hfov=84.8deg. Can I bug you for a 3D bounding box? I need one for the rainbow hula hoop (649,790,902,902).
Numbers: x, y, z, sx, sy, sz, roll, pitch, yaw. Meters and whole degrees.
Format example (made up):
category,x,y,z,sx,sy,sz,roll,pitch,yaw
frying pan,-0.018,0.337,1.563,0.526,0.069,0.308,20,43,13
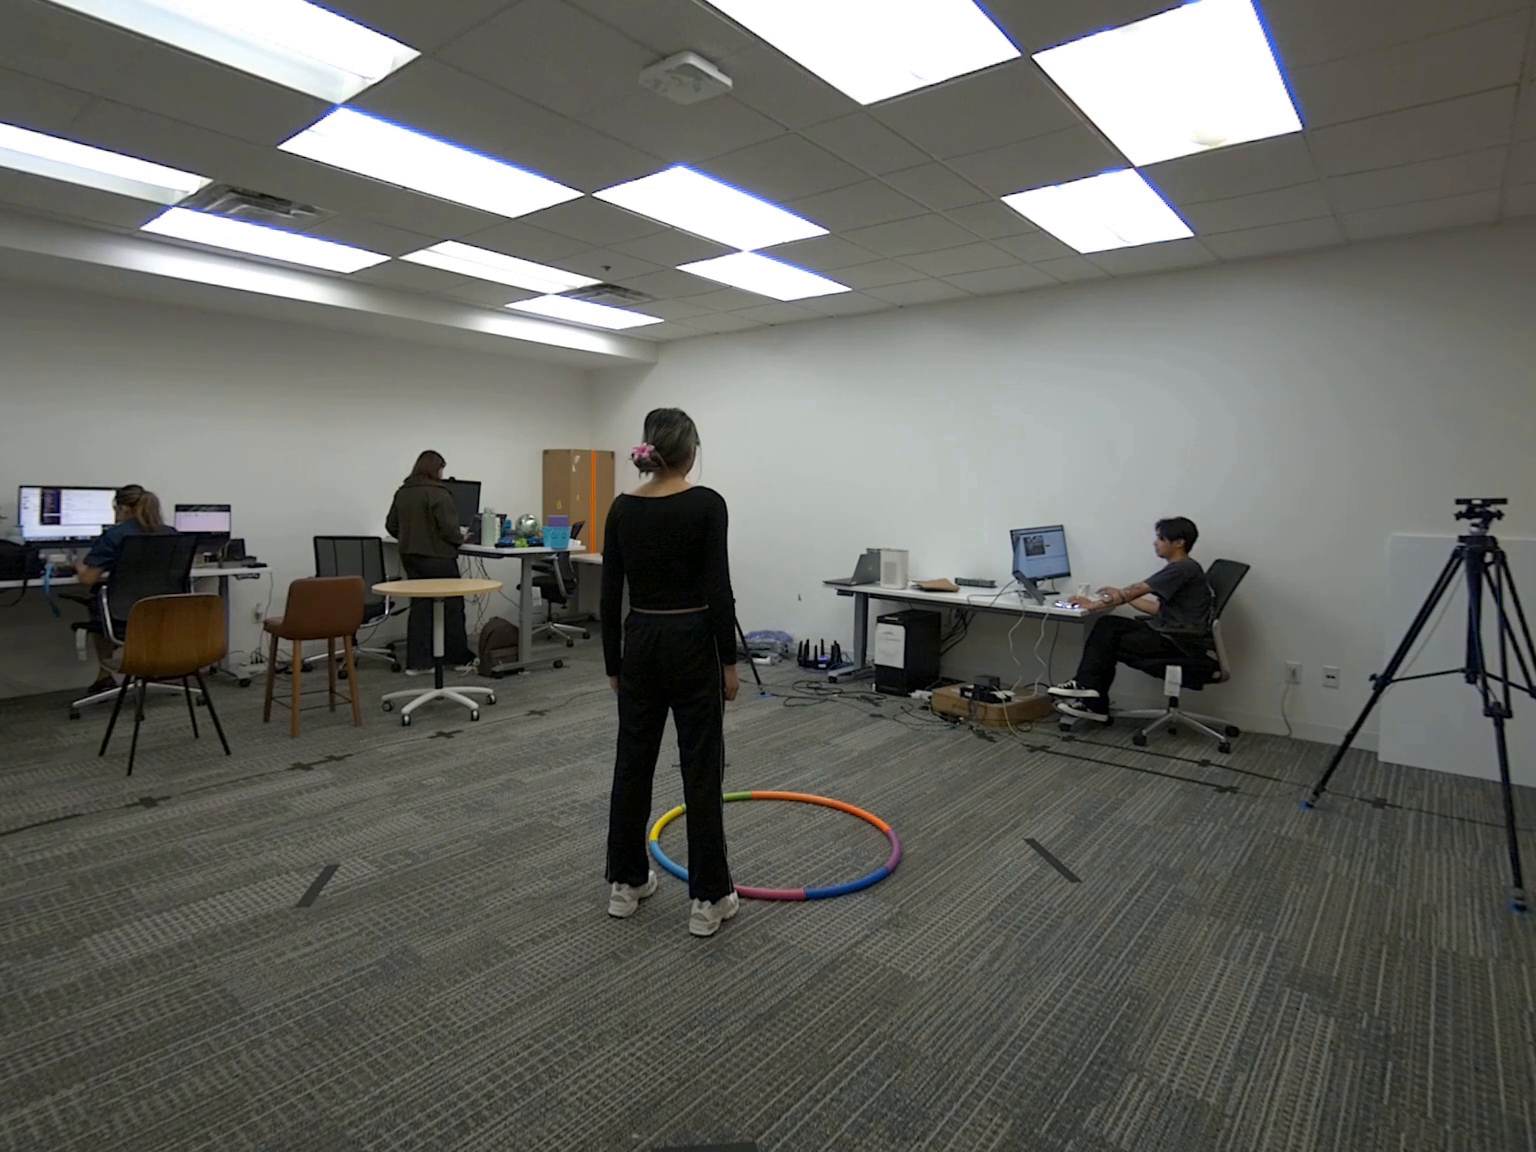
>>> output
category,x,y,z,sx,sy,sz,roll,pitch,yaw
rainbow hula hoop,0.017,1.020,3.362,0.978,0.035,0.984,1,6,-2
